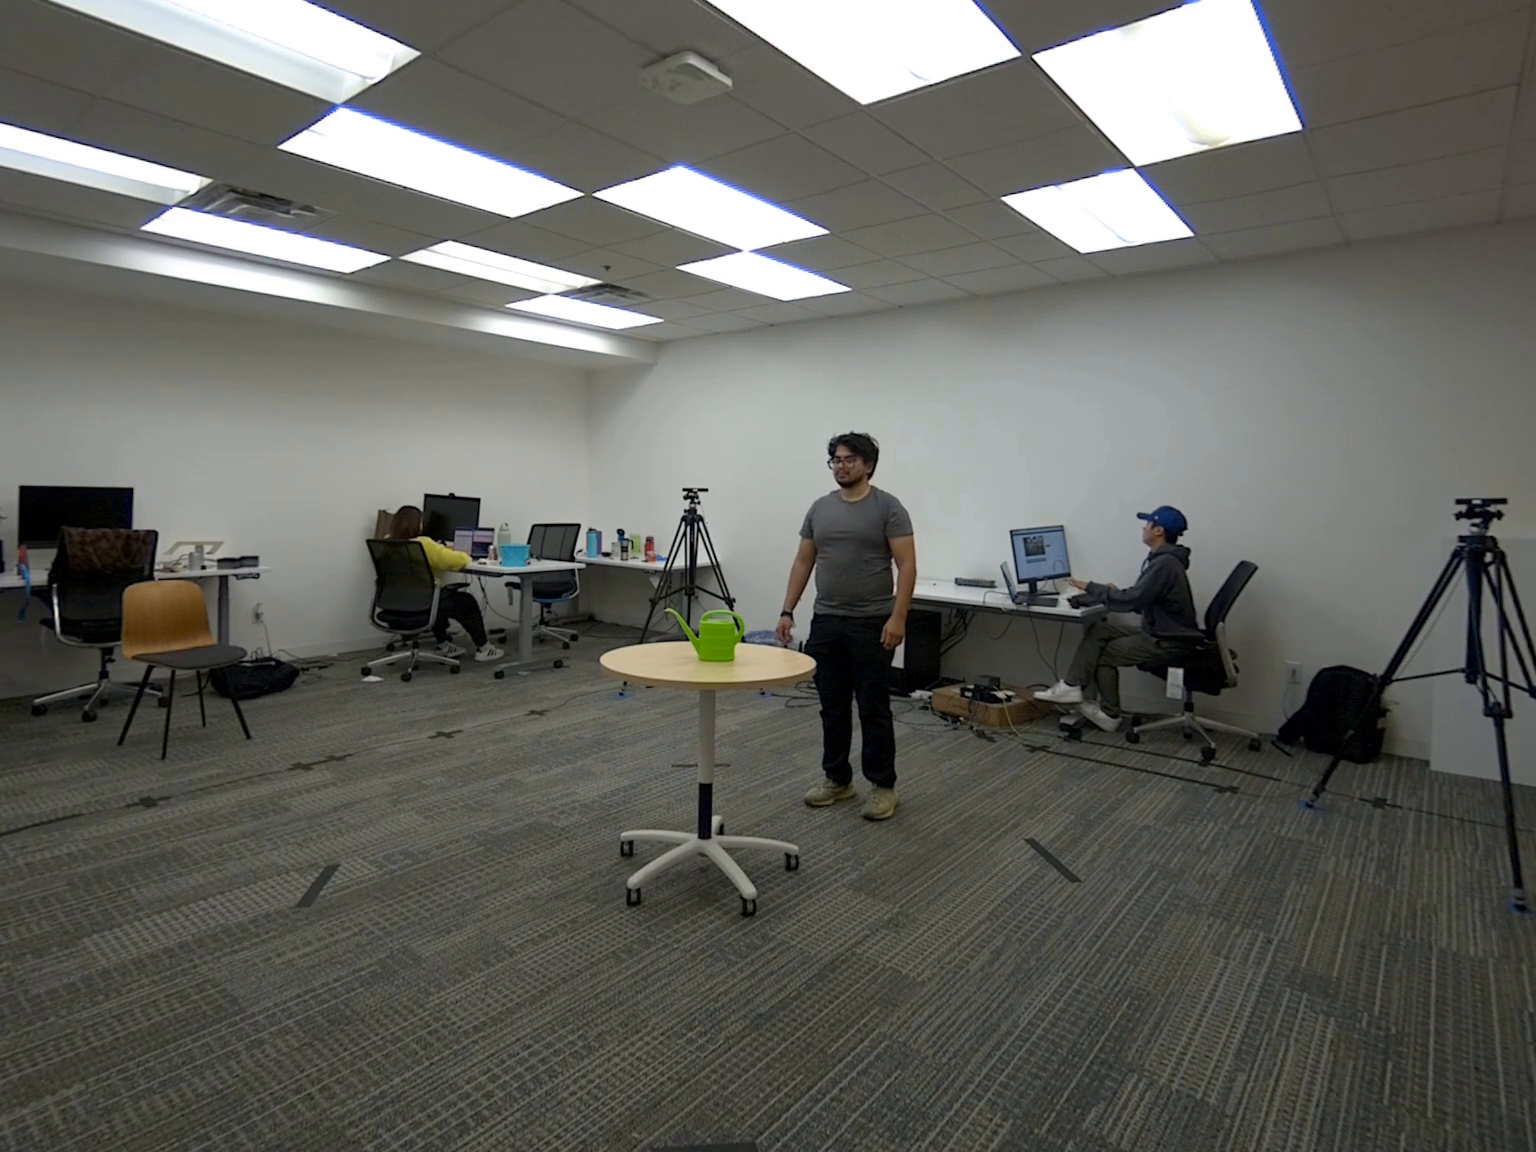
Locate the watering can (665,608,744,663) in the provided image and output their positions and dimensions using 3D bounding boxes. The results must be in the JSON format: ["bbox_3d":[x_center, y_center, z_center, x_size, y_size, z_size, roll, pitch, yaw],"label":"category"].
[{"bbox_3d":[-0.241,0.209,3.041,0.283,0.176,0.096,2,3,16],"label":"watering can"}]
